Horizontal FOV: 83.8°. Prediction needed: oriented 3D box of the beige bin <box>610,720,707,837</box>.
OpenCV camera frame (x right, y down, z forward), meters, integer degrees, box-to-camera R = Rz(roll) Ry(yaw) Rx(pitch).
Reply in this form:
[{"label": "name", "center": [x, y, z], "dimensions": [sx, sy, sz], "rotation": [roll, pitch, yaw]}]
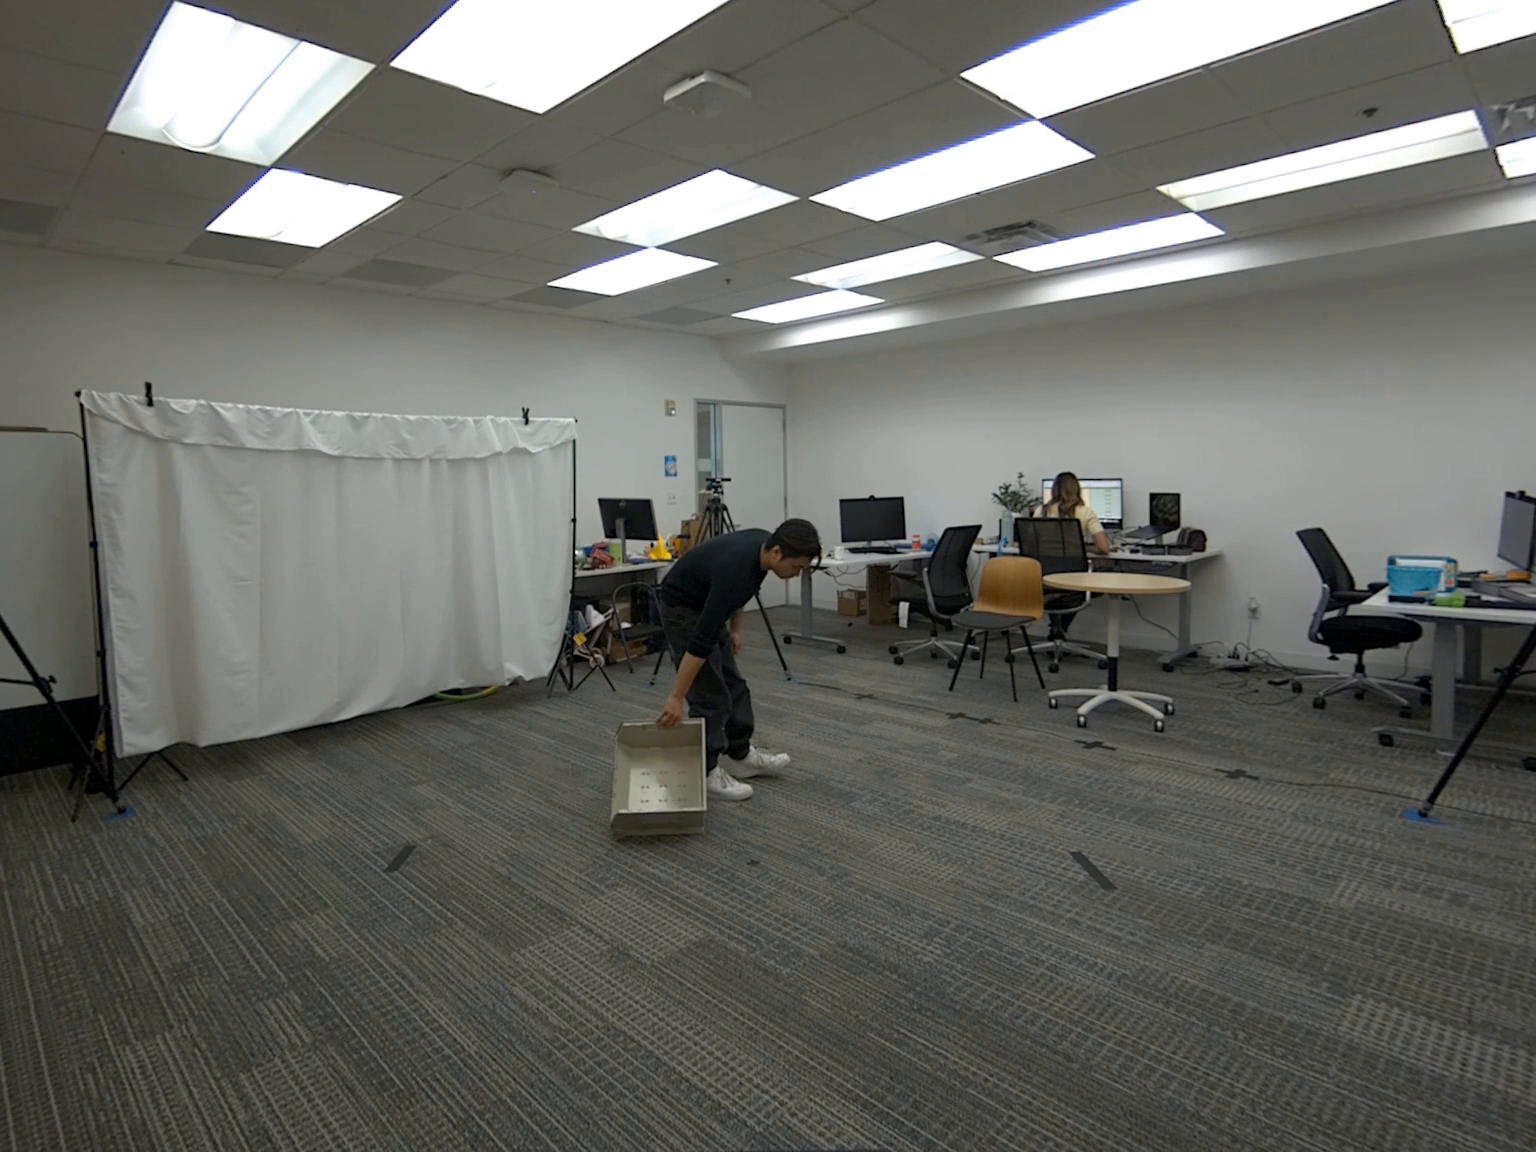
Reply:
[{"label": "beige bin", "center": [-0.438, 0.808, 3.458], "dimensions": [0.376, 0.184, 0.435], "rotation": [0, 42, -4]}]
